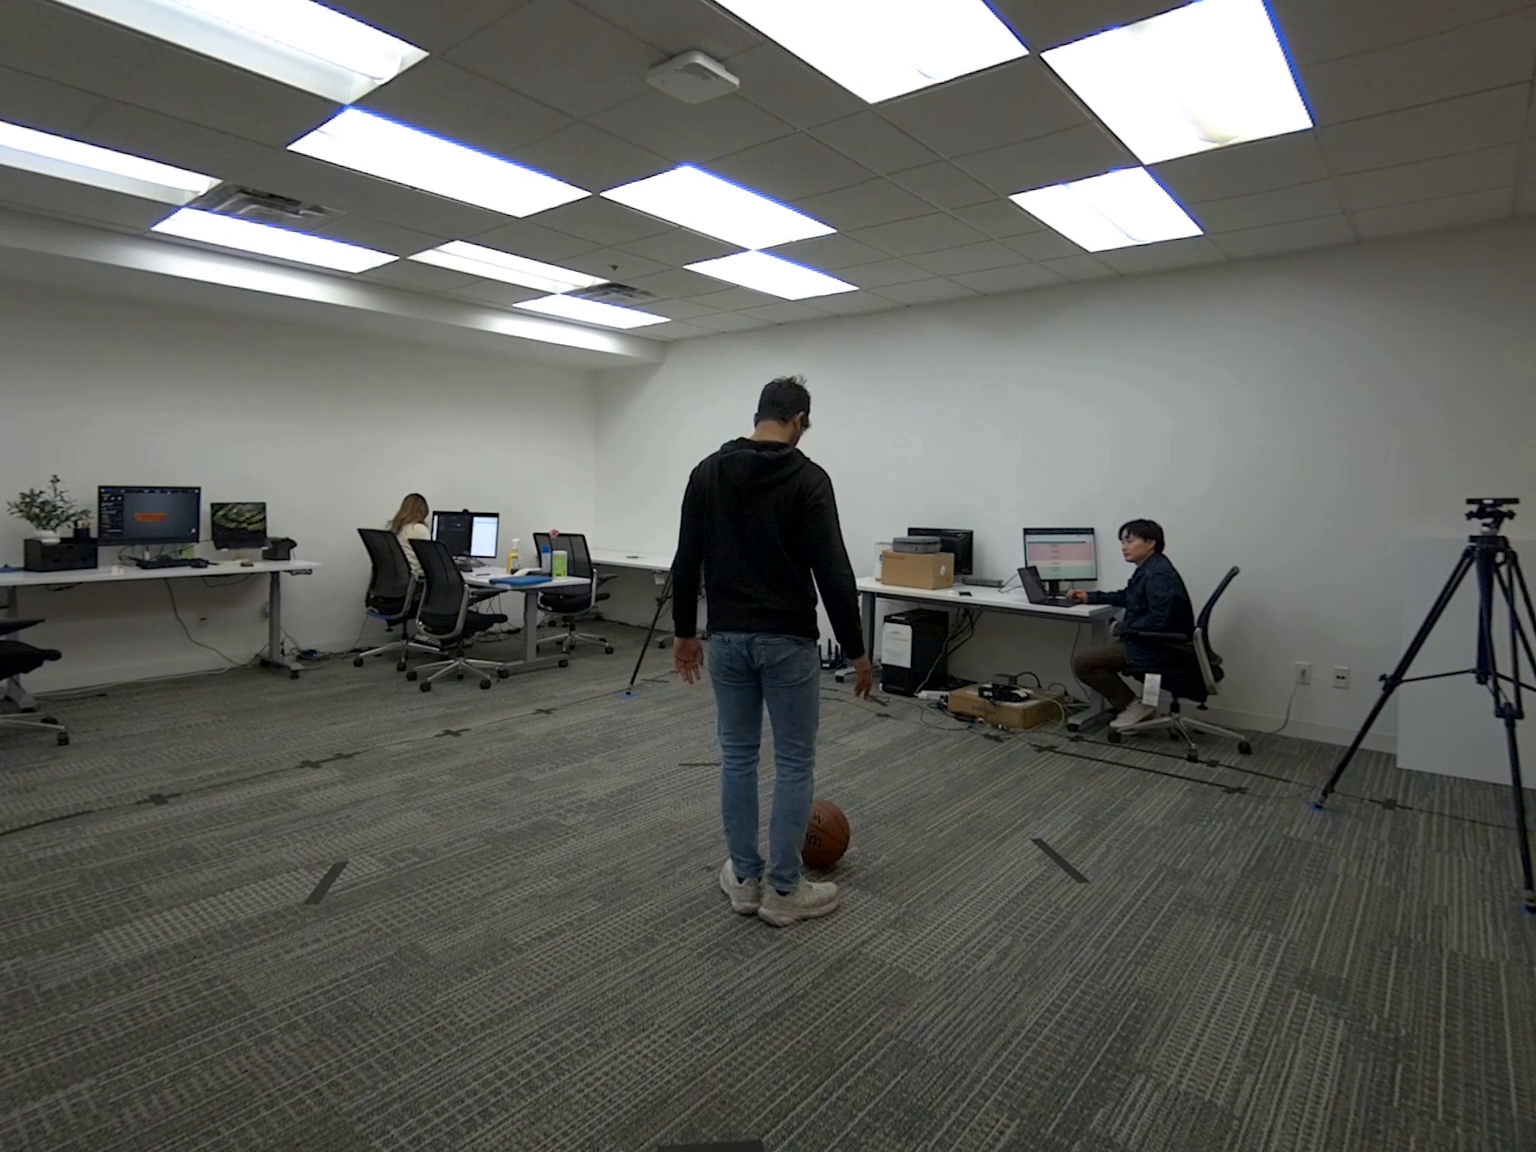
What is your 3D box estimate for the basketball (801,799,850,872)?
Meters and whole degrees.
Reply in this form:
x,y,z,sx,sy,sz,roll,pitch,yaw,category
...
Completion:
x,y,z,sx,sy,sz,roll,pitch,yaw,category
0.178,0.945,3.159,0.235,0.235,0.237,1,4,-2,basketball
